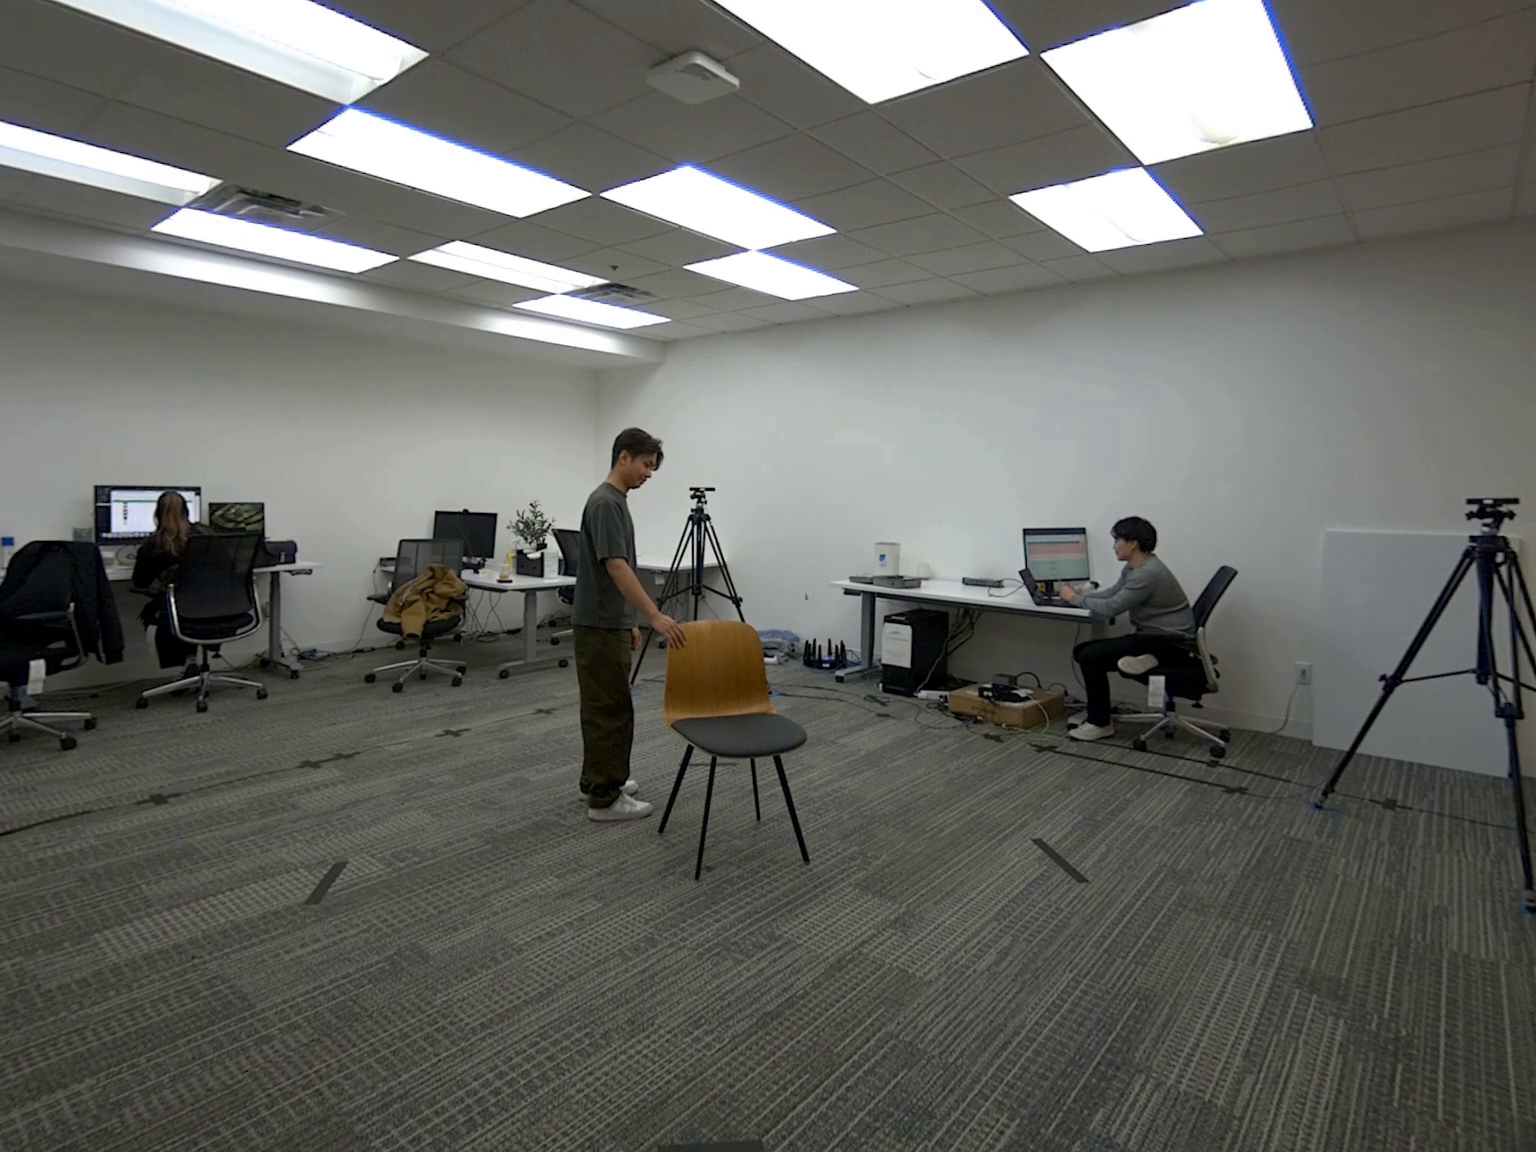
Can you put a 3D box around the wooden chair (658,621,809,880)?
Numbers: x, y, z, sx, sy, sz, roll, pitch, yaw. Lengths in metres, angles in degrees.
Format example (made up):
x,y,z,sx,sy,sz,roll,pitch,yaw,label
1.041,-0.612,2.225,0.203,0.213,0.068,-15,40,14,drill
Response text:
x,y,z,sx,sy,sz,roll,pitch,yaw,label
-0.143,0.625,3.265,0.467,0.878,0.534,0,-1,-23,wooden chair
